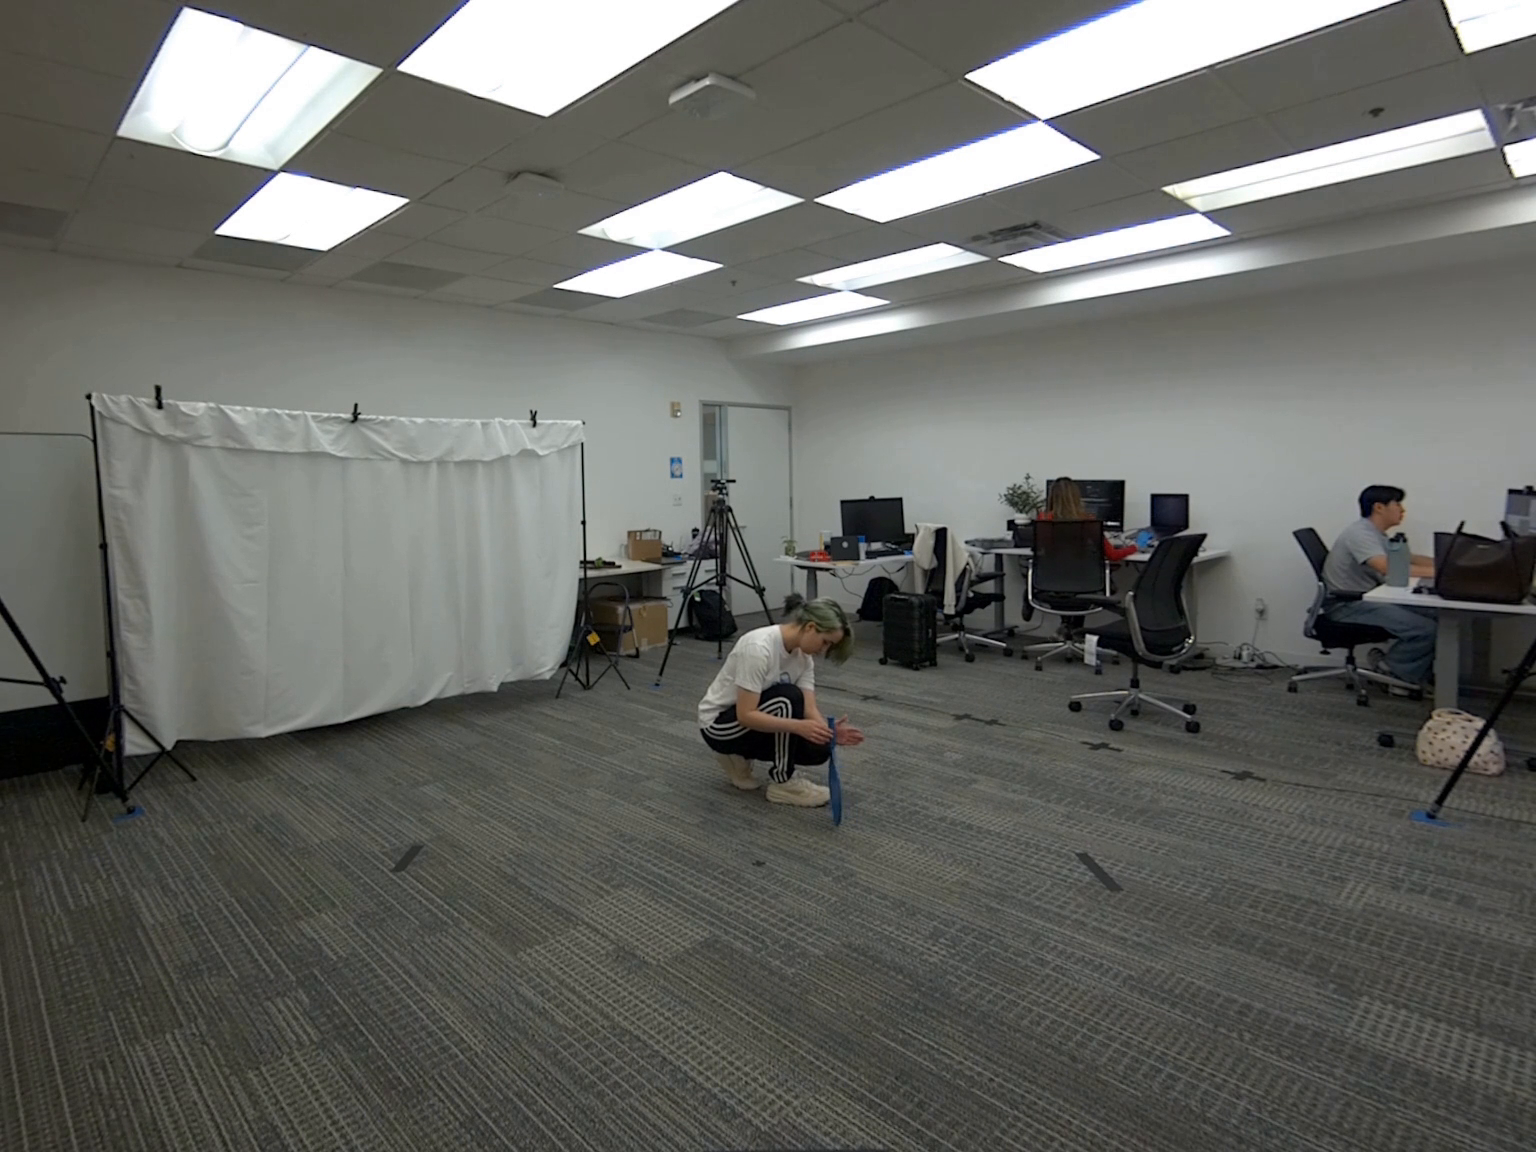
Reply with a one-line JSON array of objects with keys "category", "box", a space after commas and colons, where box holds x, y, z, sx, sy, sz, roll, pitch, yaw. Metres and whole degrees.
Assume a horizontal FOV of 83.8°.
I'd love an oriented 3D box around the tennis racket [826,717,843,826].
[{"category": "tennis racket", "box": [0.272, 0.790, 3.454, 0.031, 0.432, 0.215, -2, 2, -6]}]
